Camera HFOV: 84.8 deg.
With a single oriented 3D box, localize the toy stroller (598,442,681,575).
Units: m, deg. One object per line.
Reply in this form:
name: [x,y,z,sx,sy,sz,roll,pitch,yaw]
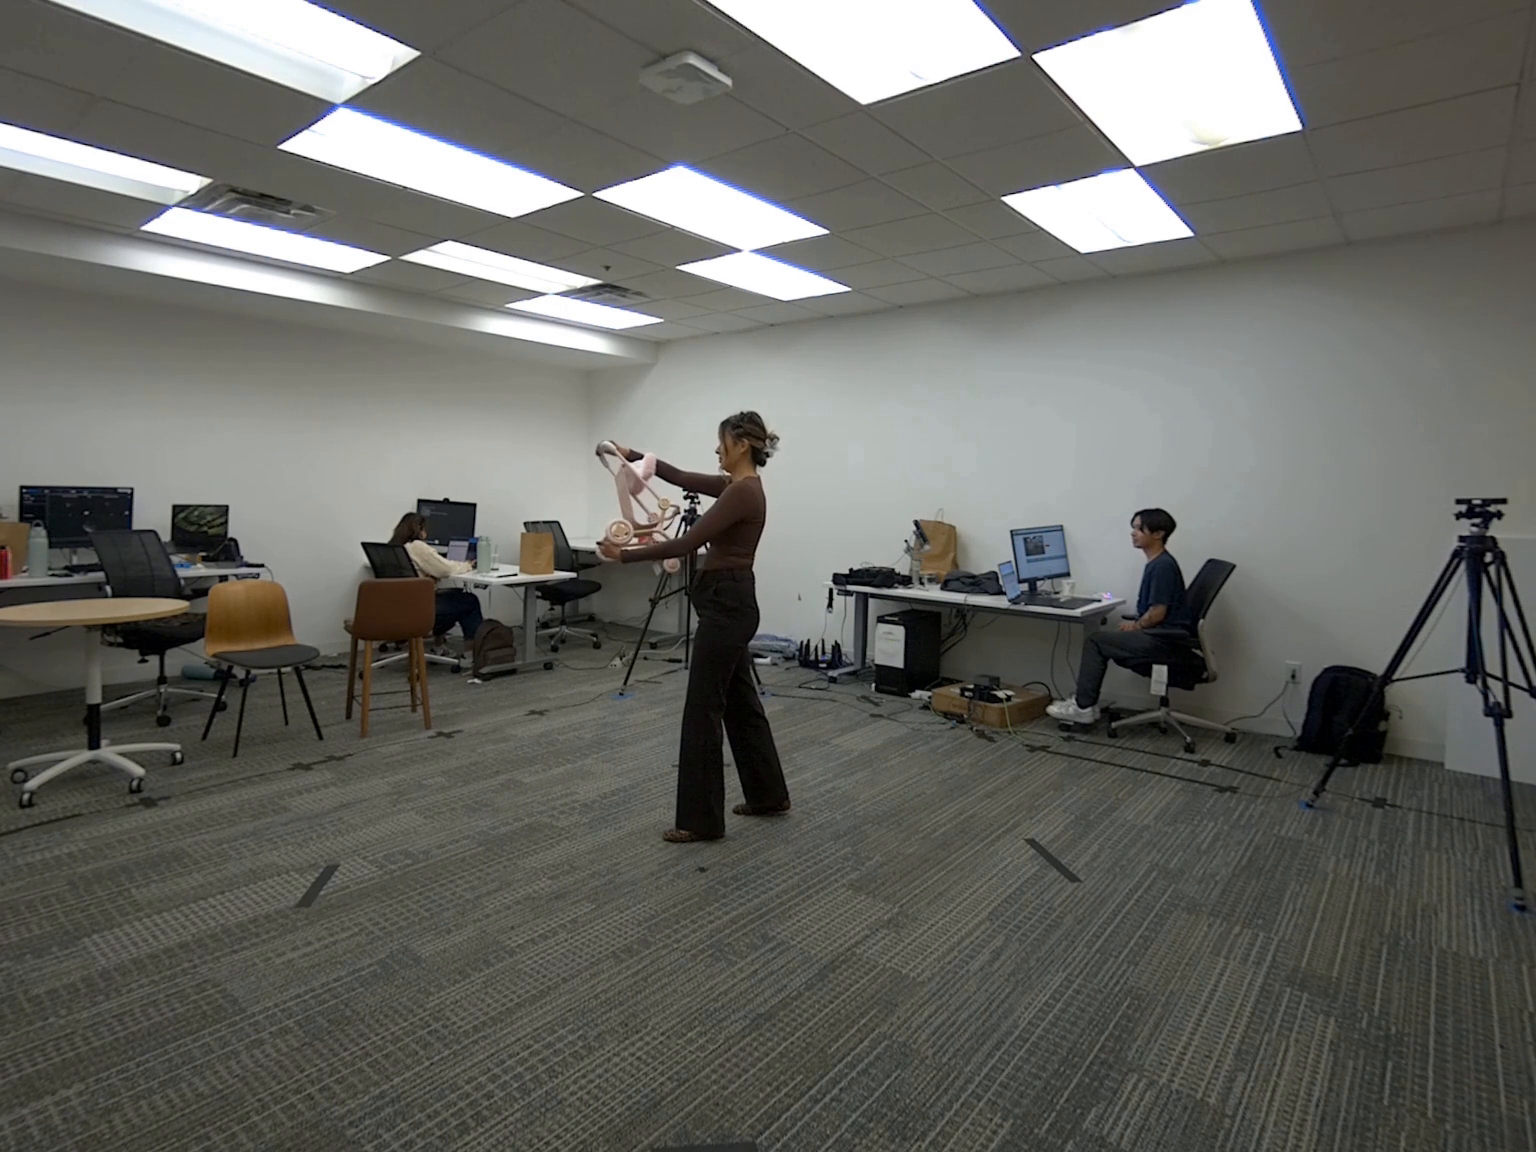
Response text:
toy stroller: [-0.541,-0.282,3.518,0.336,0.544,0.281,1,-17,-15]
